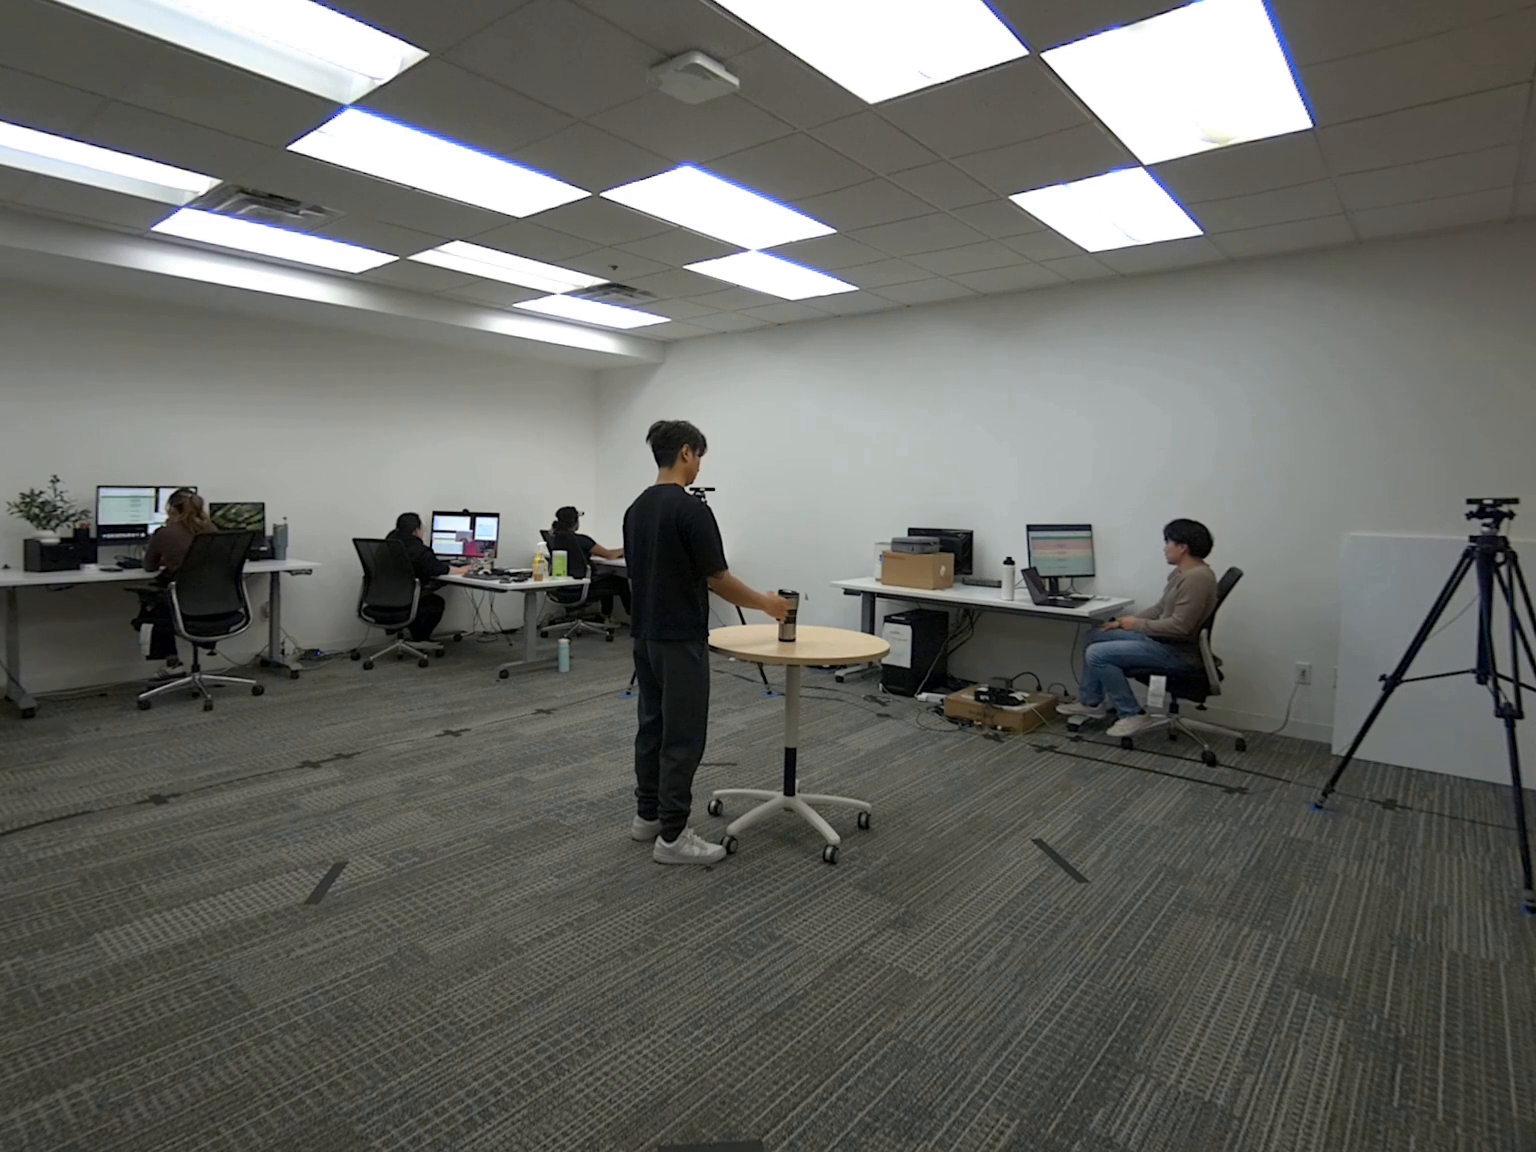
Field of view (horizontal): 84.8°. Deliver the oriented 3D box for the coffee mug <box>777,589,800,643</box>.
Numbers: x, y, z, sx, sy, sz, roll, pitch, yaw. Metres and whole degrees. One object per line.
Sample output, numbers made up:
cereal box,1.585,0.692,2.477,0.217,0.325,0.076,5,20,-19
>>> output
coffee mug,0.049,0.163,3.411,0.118,0.202,0.091,2,4,-35
